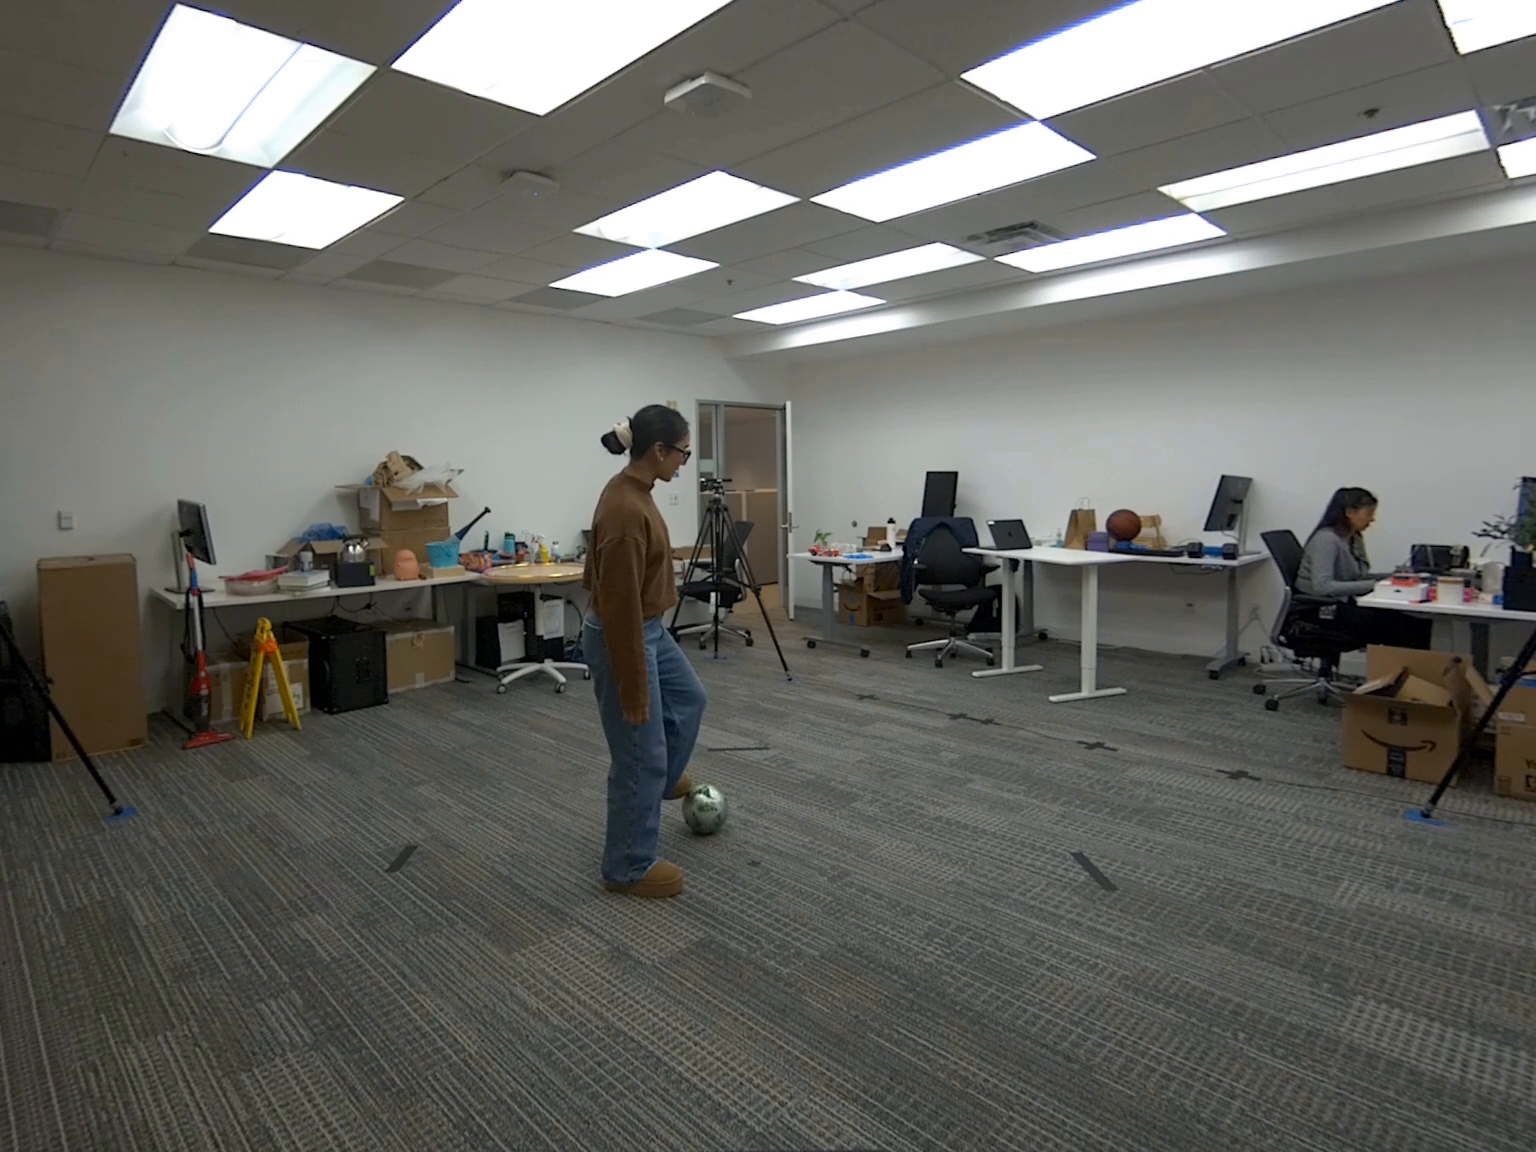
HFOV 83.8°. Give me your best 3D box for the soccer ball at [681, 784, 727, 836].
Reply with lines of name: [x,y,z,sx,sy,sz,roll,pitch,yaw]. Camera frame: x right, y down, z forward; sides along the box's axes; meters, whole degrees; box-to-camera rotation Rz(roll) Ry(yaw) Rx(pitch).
soccer ball: [-0.238,0.921,3.381,0.187,0.187,0.188,-1,5,-2]
